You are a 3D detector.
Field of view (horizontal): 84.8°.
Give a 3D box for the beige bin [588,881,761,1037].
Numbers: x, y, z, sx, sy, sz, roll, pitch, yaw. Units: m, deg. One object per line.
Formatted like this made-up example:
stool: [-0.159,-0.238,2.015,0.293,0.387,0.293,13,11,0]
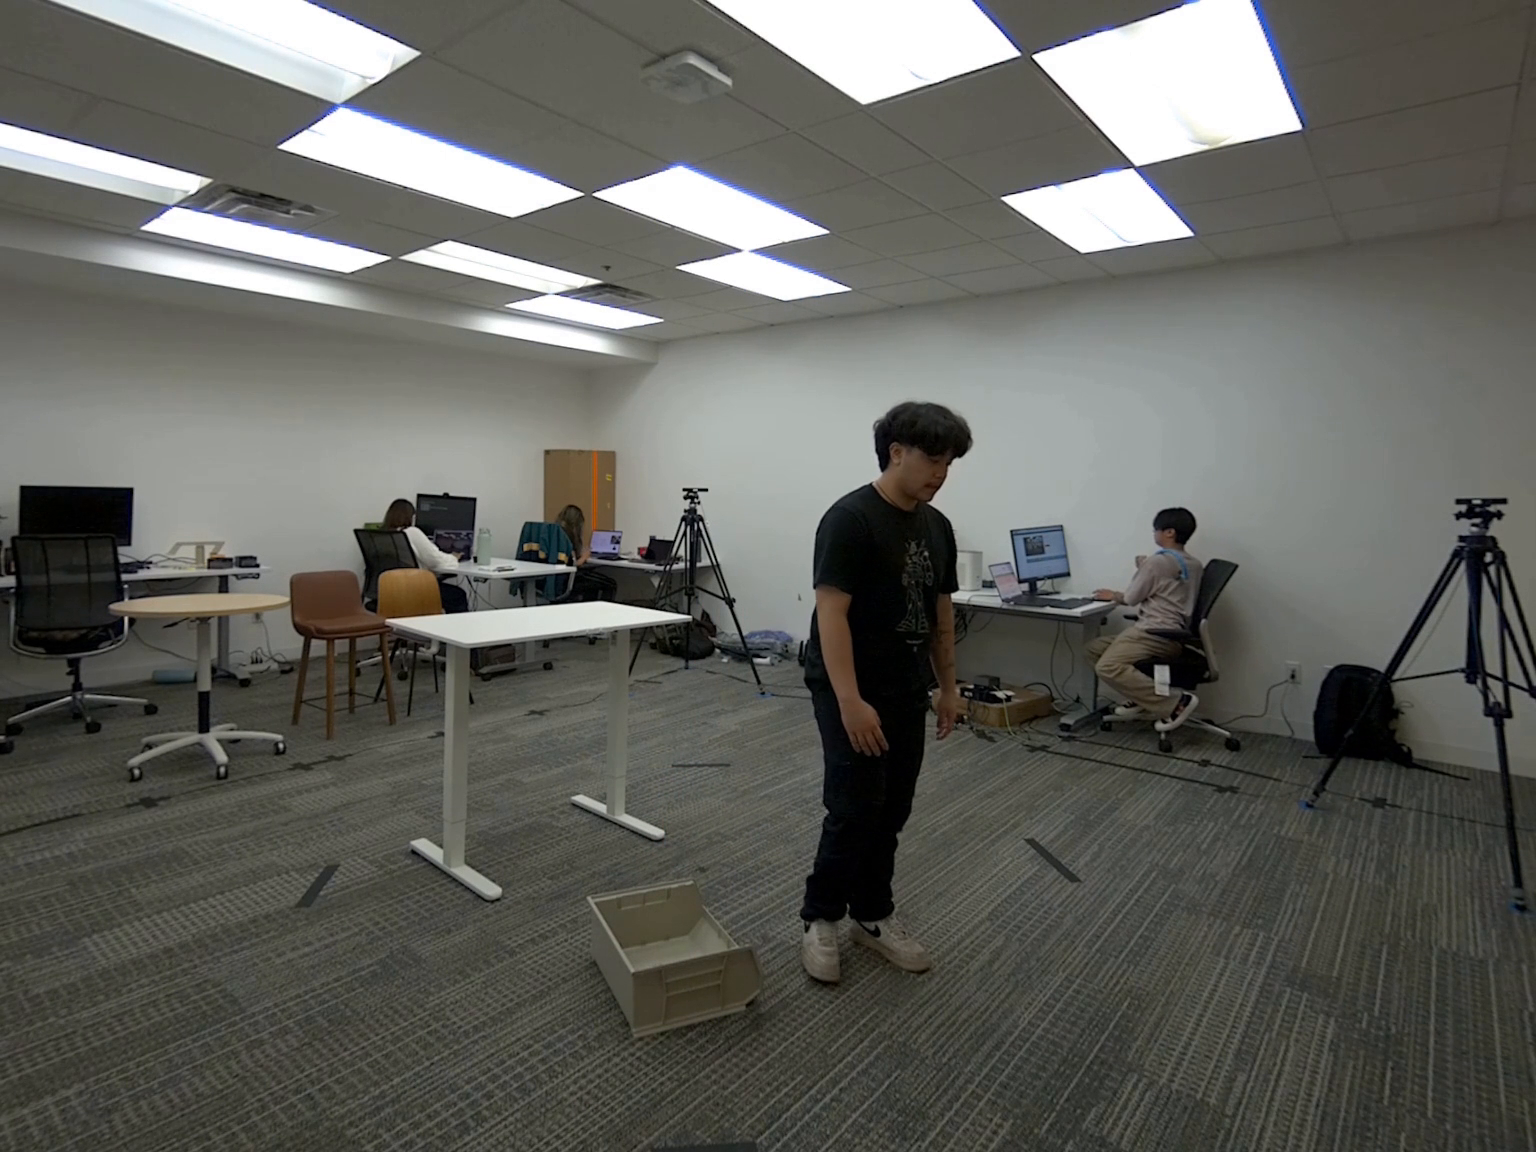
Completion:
beige bin: [-0.277,1.052,2.399,0.368,0.188,0.434,-2,7,-26]
